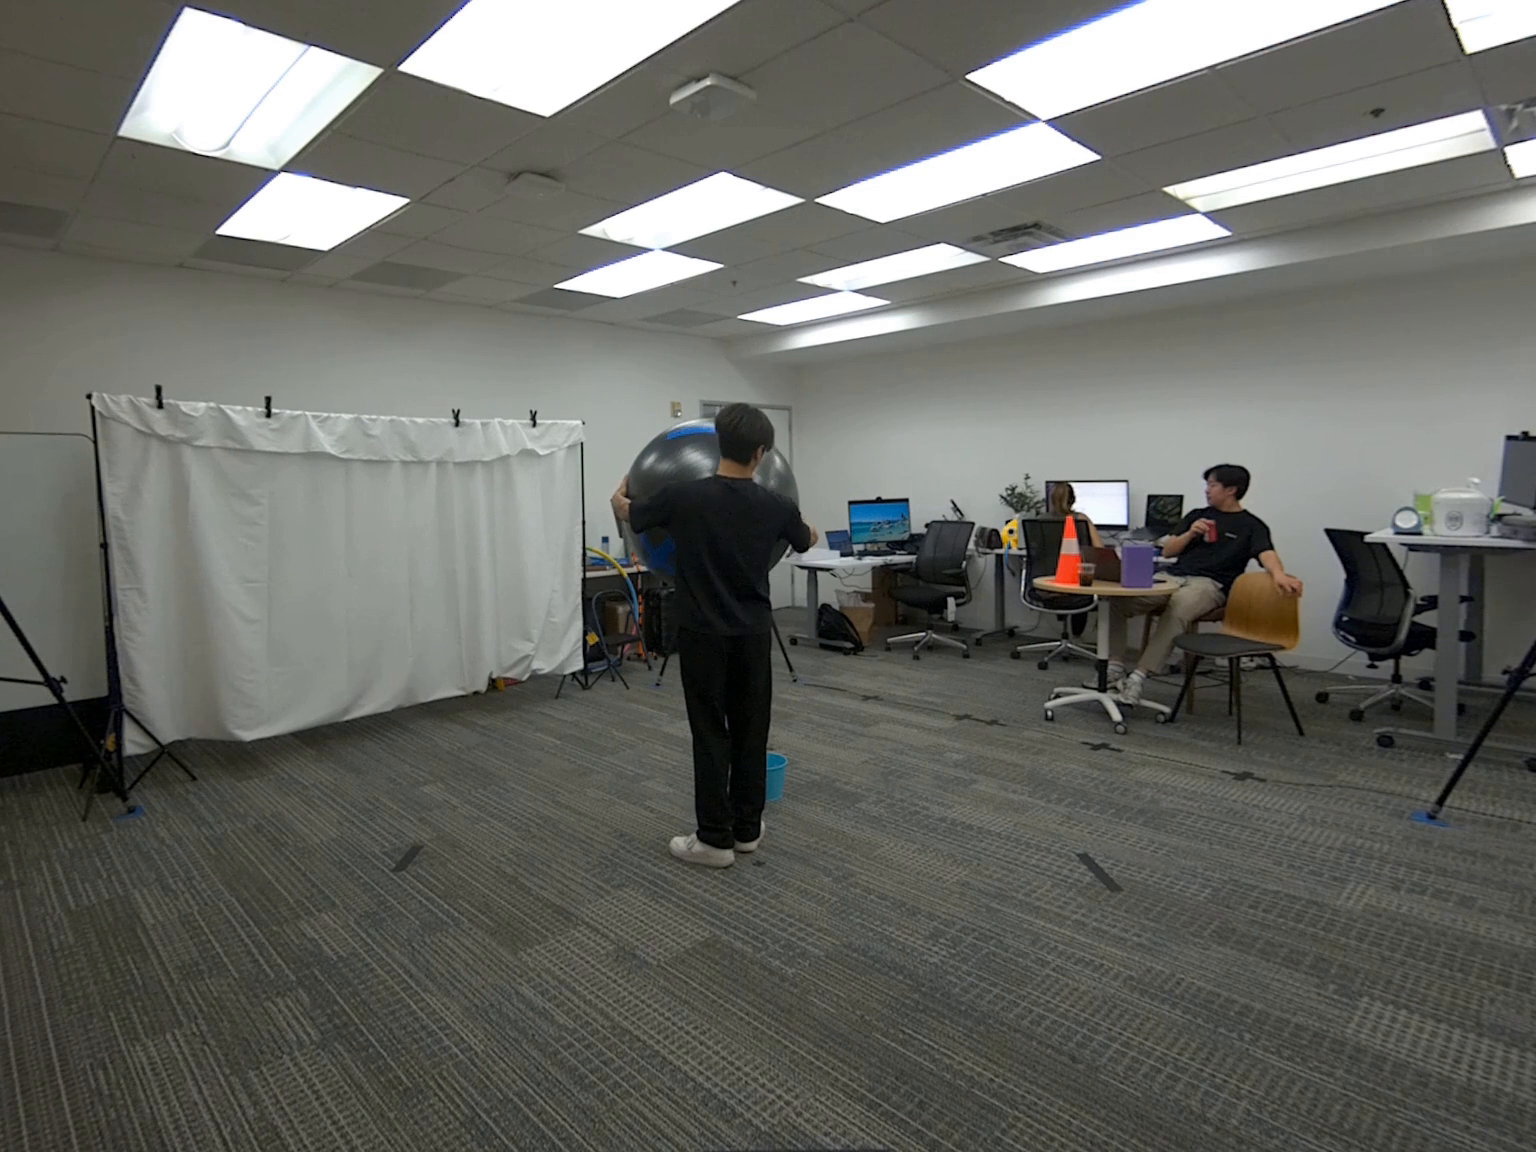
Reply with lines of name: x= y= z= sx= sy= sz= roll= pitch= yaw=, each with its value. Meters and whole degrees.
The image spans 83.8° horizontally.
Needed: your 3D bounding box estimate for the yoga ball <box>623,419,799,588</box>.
yoga ball: x=-0.251 y=-0.290 z=3.696 sx=0.757 sy=0.755 sz=0.762 roll=-1 pitch=5 yaw=-2
